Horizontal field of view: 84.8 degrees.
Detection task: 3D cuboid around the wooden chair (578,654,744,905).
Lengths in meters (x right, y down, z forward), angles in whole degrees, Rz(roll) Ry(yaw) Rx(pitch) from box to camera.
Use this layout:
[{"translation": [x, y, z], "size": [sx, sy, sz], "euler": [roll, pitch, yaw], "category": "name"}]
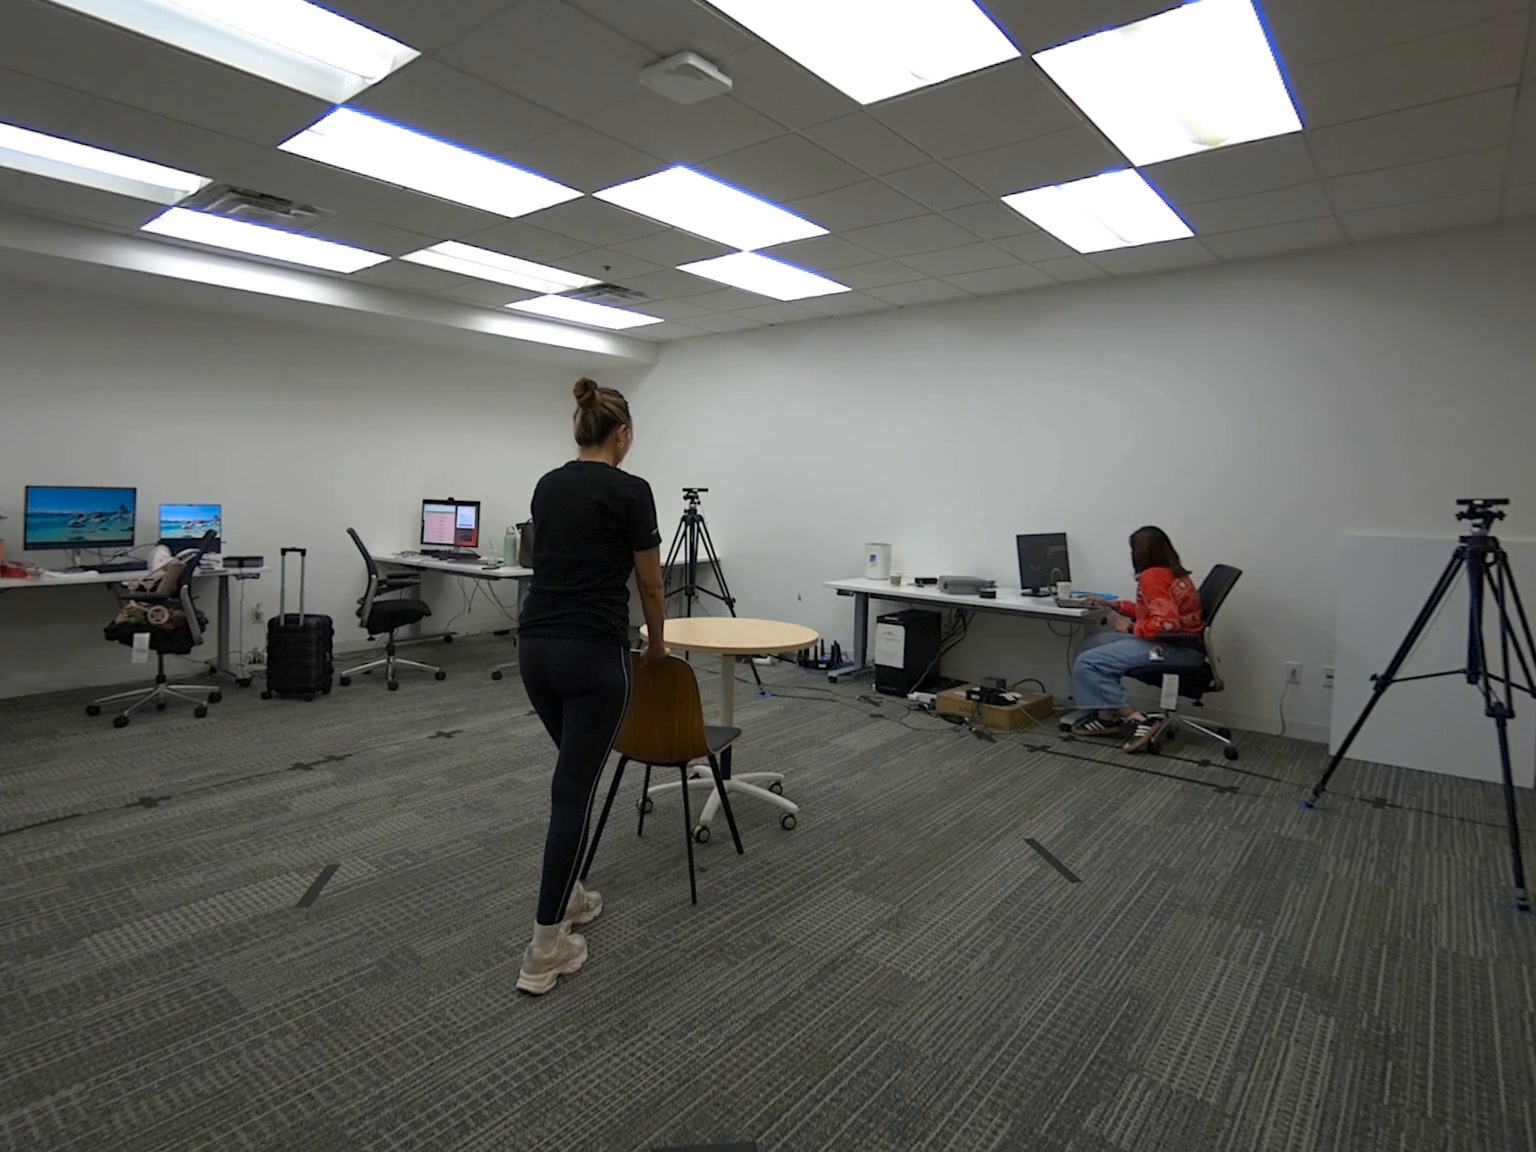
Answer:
[{"translation": [-0.380, 0.637, 3.108], "size": [0.489, 0.872, 0.515], "euler": [2, 7, 21], "category": "wooden chair"}]
